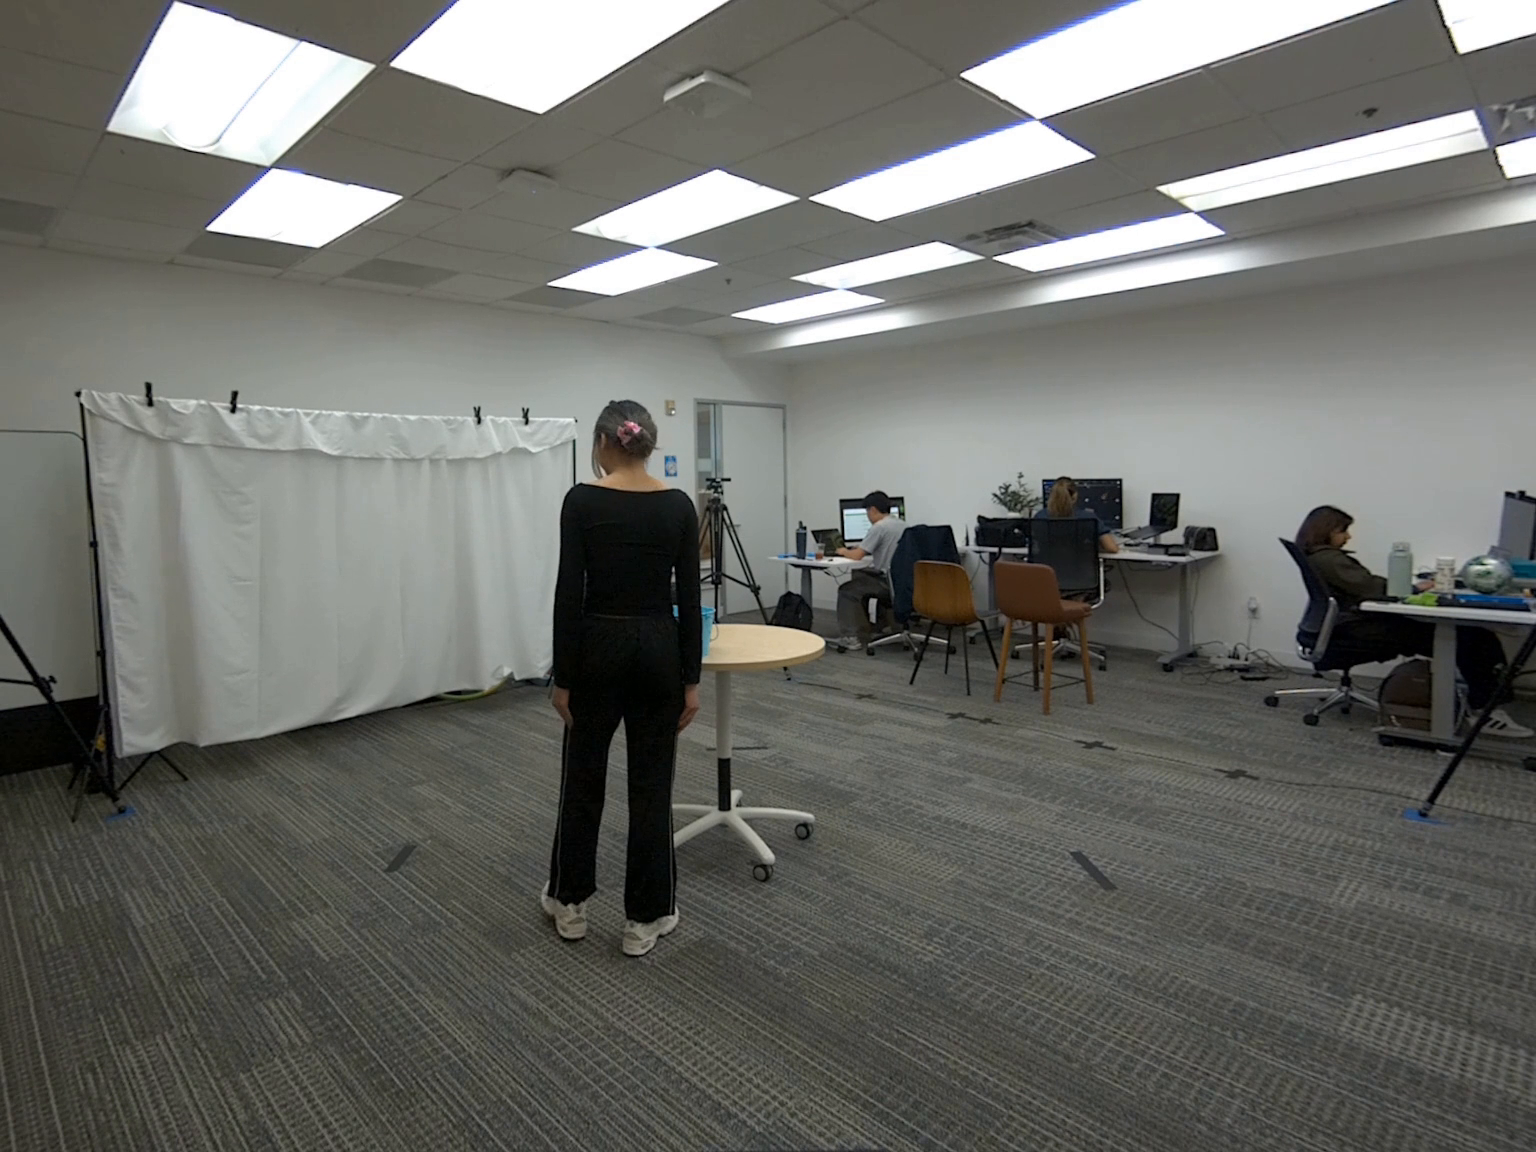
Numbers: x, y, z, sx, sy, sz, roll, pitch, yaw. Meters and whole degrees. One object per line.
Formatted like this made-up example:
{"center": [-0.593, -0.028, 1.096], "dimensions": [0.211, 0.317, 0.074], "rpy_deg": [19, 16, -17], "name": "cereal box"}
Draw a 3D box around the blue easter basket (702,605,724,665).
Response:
{"center": [-0.280, 0.200, 2.981], "dimensions": [0.243, 0.155, 0.245], "rpy_deg": [0, 7, -2], "name": "blue easter basket"}
